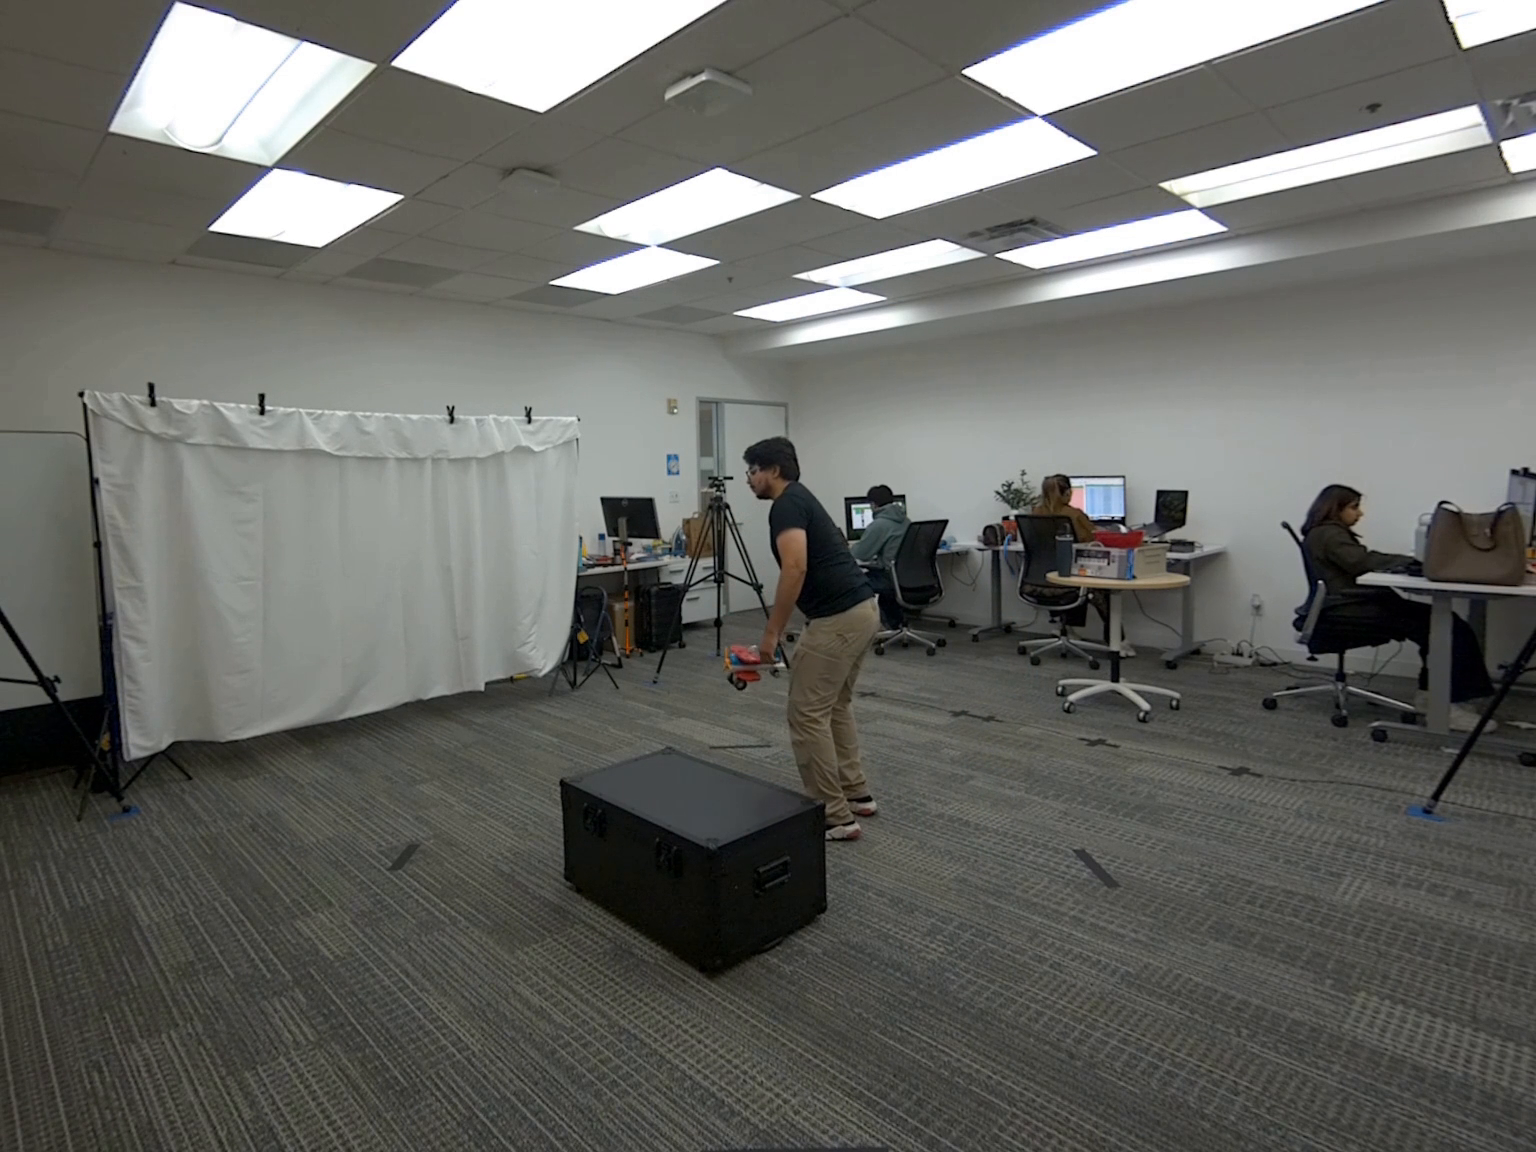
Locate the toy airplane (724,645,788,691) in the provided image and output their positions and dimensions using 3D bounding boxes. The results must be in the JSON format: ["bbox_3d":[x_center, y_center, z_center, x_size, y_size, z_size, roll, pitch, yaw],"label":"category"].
[{"bbox_3d":[-0.060,0.388,3.706,0.259,0.154,0.255,3,18,43],"label":"toy airplane"}]
